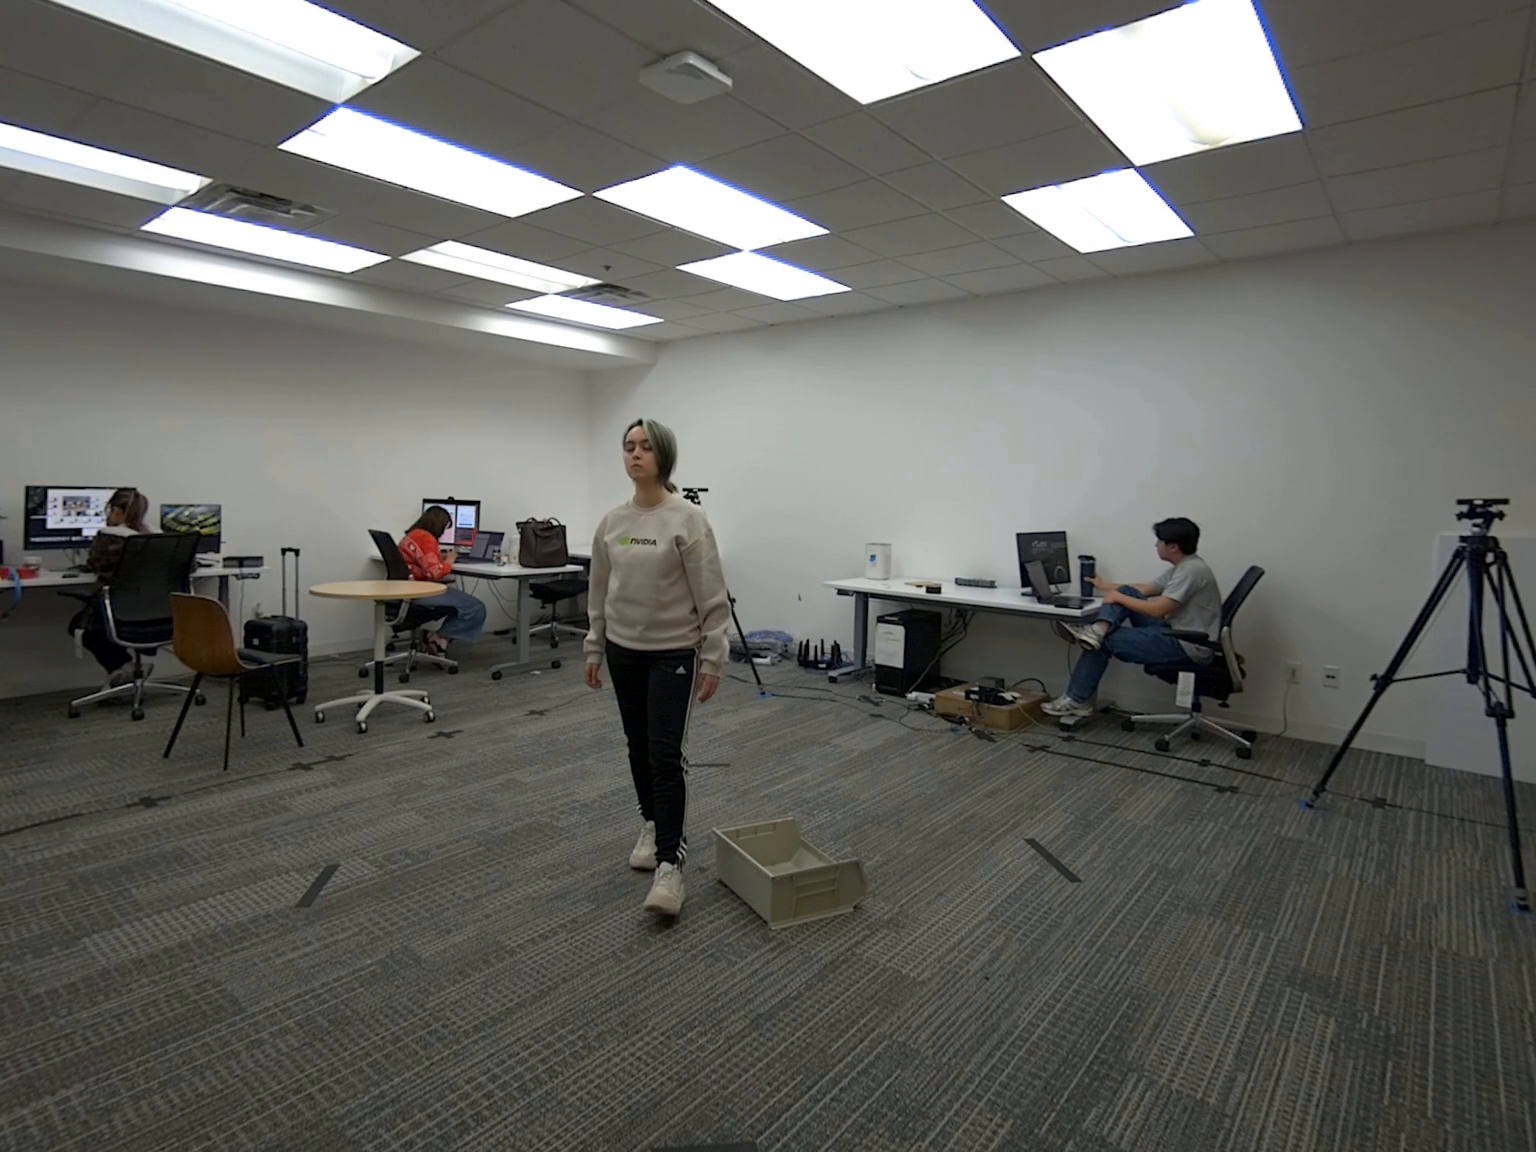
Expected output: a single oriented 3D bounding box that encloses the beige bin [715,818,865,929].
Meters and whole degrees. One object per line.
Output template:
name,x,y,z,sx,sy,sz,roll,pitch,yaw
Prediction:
beige bin,0.060,1.003,2.937,0.368,0.188,0.435,-2,7,-29
